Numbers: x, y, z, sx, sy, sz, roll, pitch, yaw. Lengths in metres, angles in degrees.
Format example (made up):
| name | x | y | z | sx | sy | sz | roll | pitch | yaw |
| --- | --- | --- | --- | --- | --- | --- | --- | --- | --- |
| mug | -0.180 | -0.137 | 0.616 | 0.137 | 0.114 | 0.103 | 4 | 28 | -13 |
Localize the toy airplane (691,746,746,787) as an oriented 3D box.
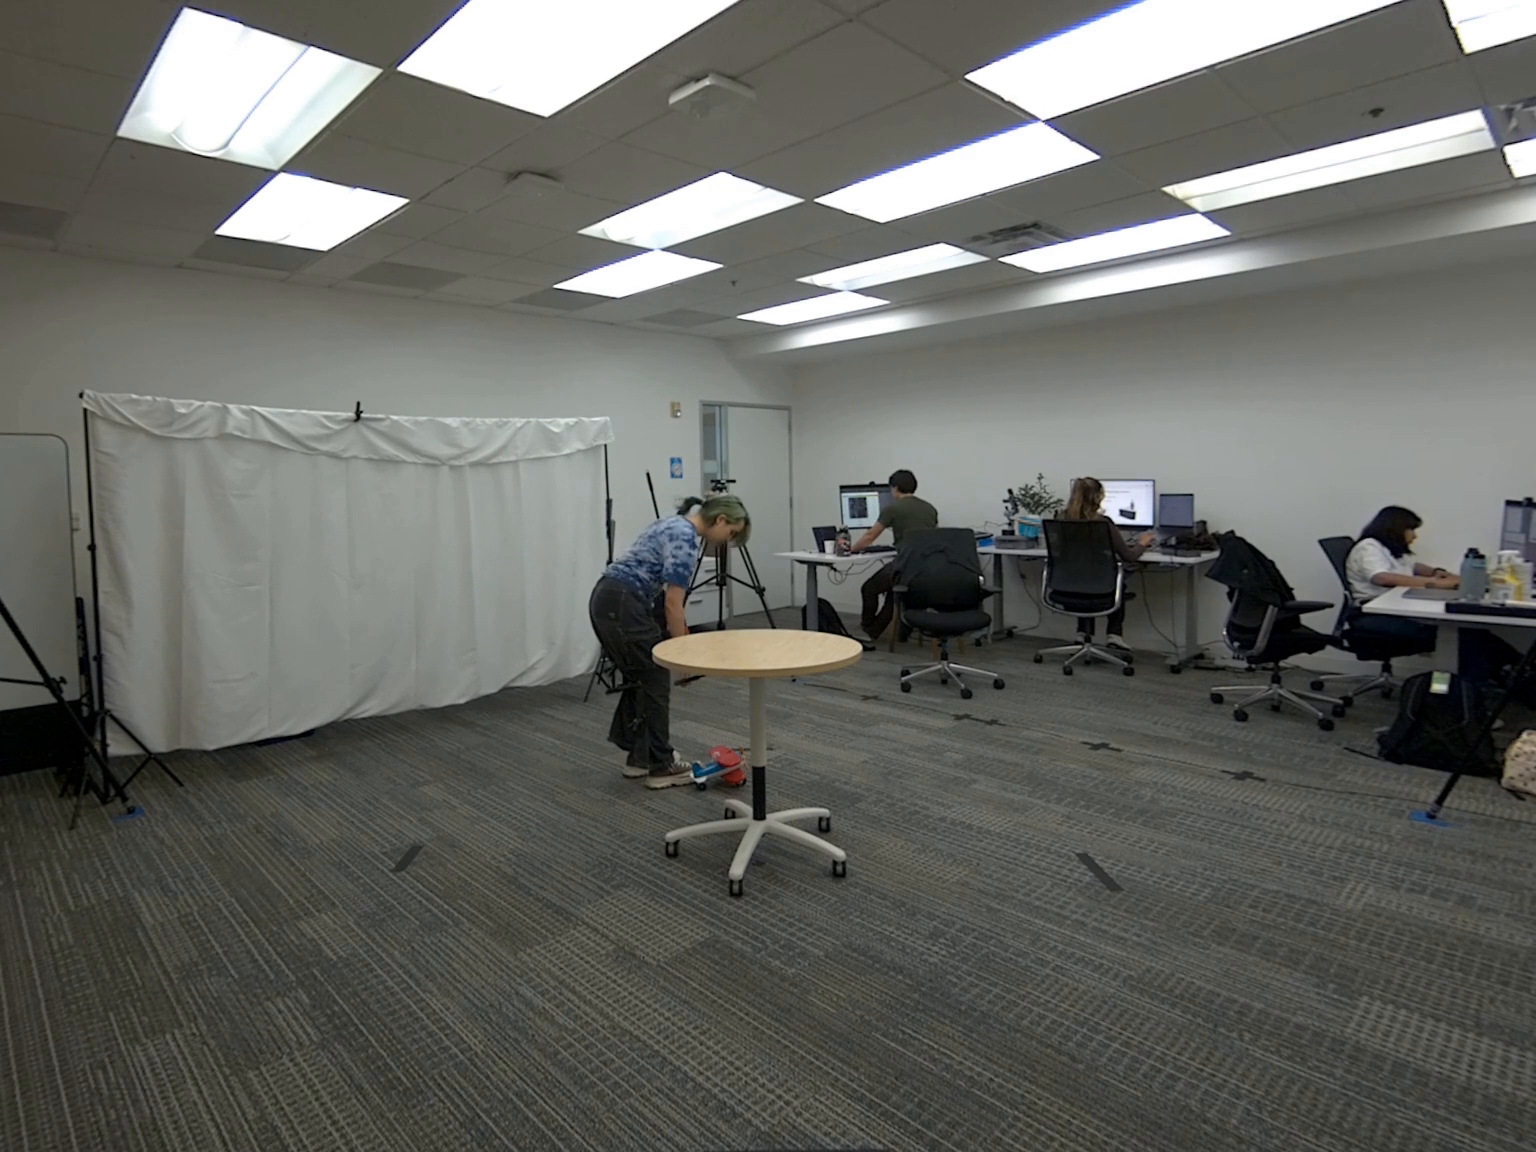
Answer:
| name | x | y | z | sx | sy | sz | roll | pitch | yaw |
| --- | --- | --- | --- | --- | --- | --- | --- | --- | --- |
| toy airplane | -0.216 | 0.889 | 3.892 | 0.258 | 0.156 | 0.252 | 3 | 5 | 38 |
